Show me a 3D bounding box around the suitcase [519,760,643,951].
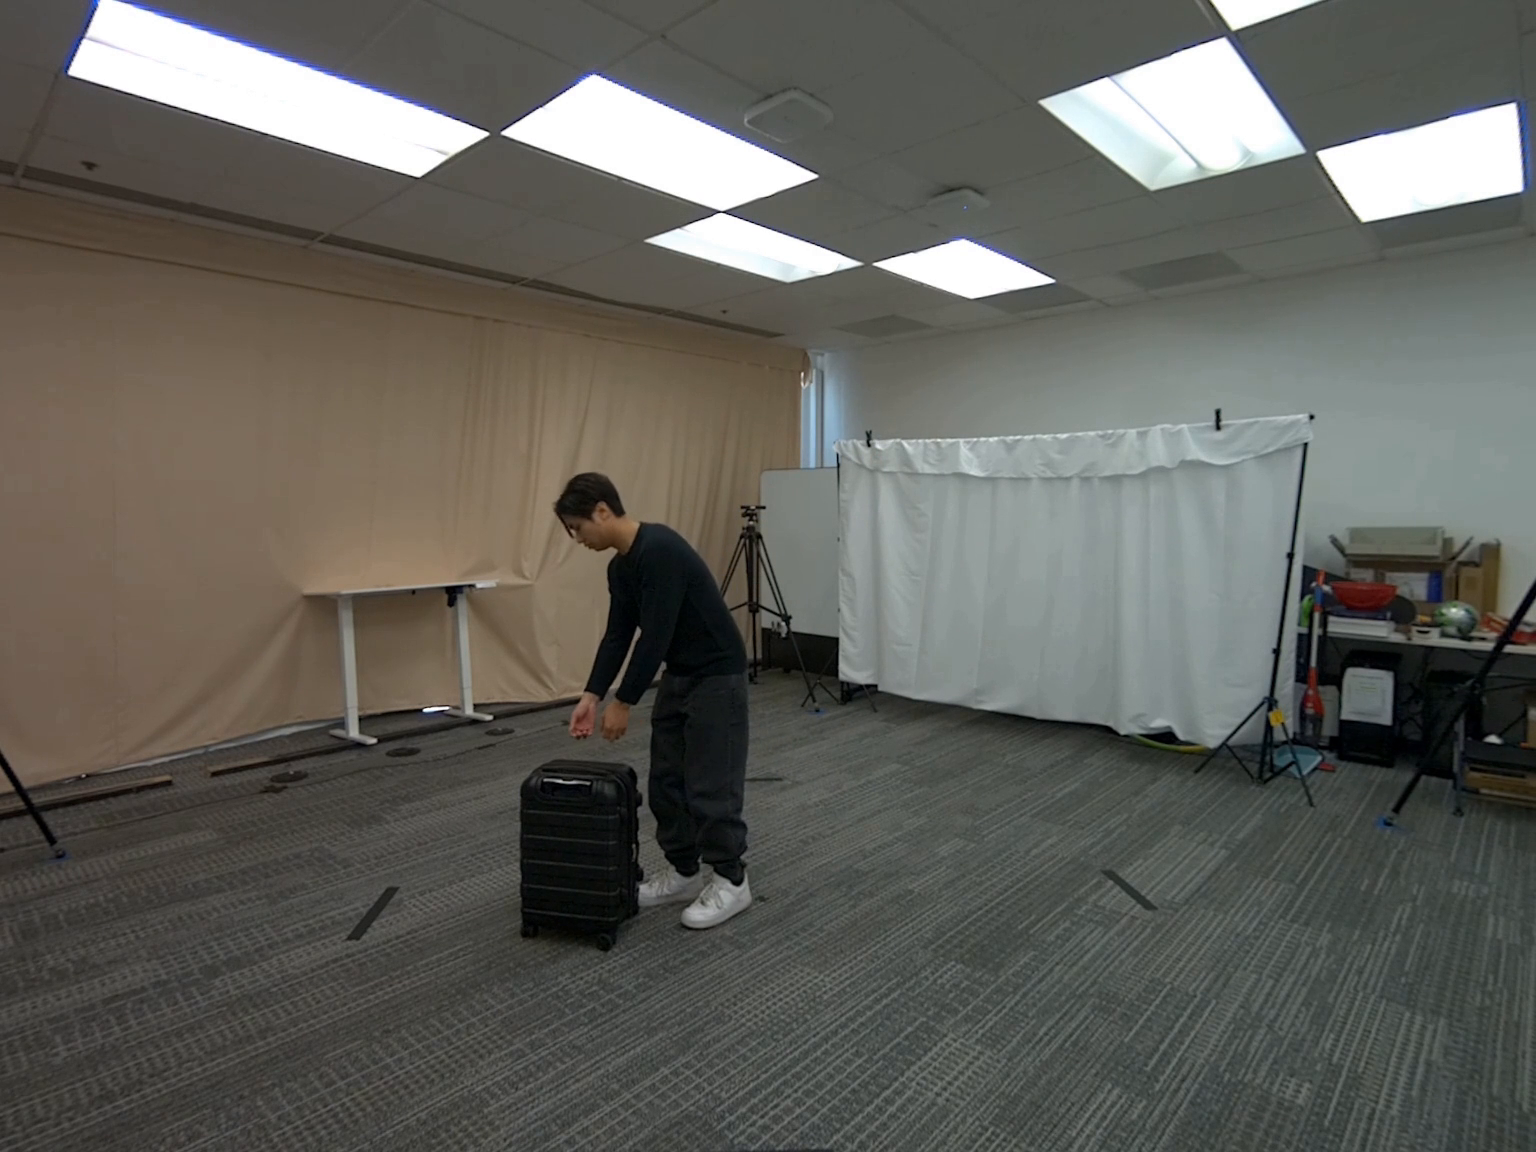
[{"bbox_3d":[-0.628,0.892,2.753,0.380,0.549,0.246,0,2,10],"label":"suitcase"}]
